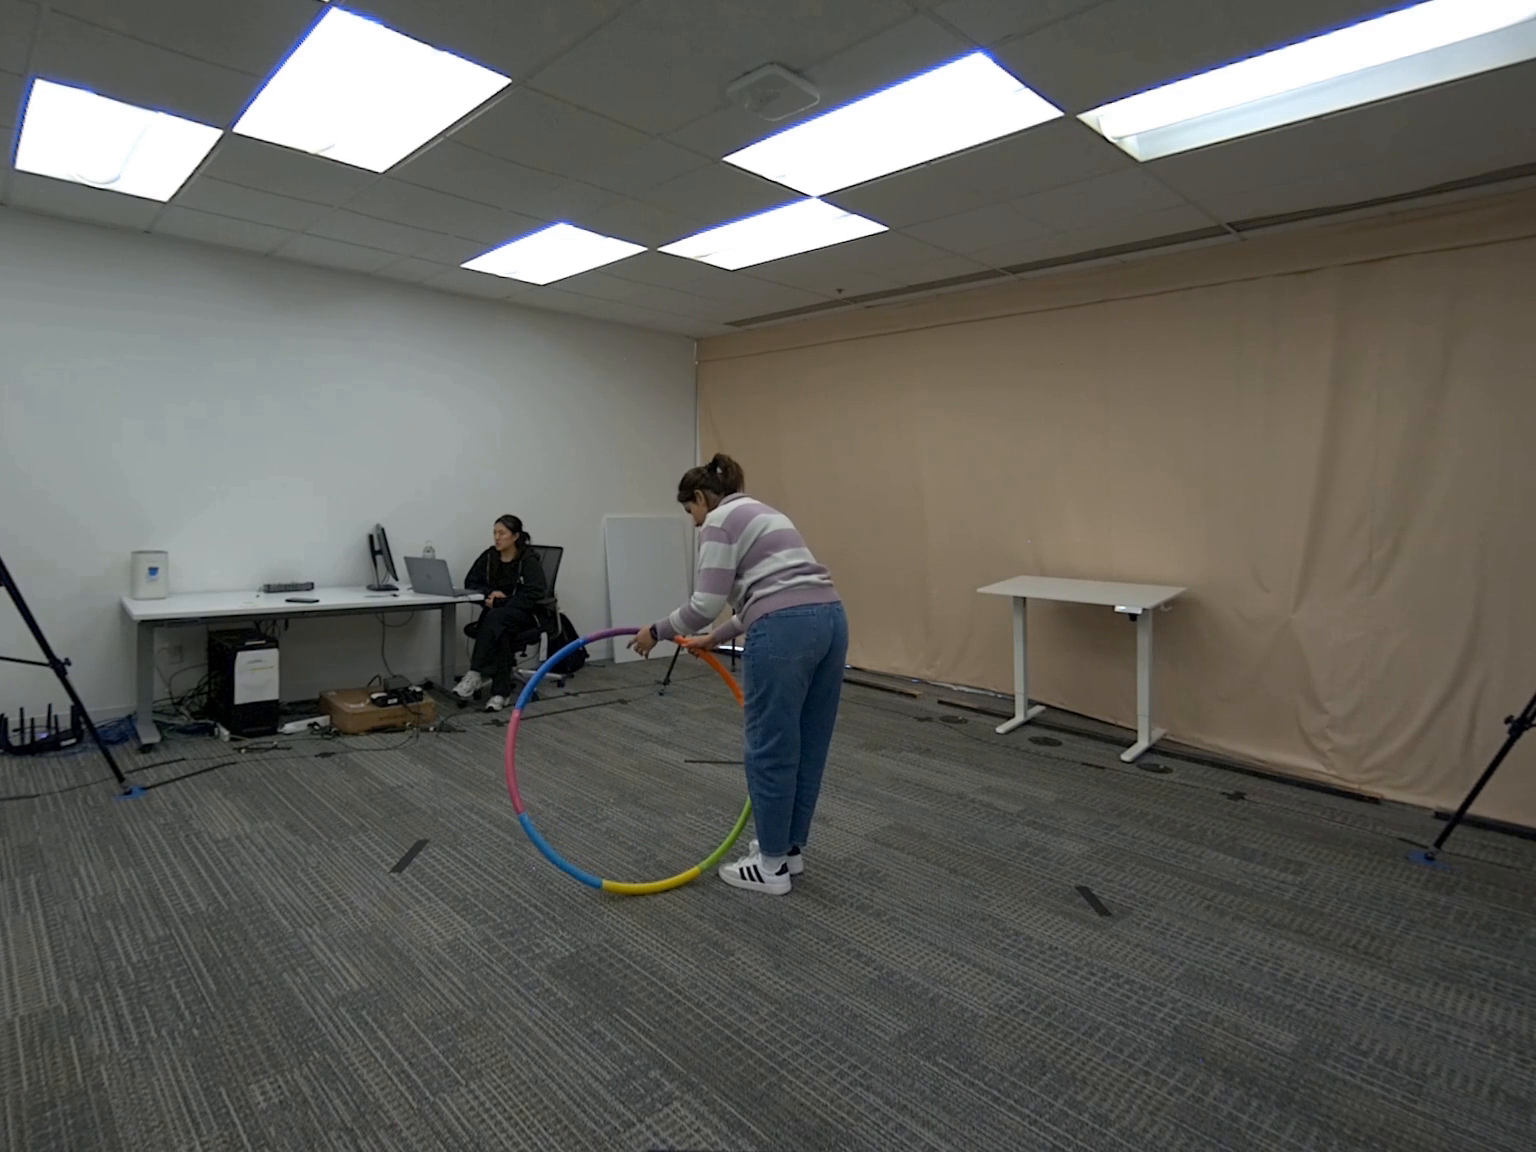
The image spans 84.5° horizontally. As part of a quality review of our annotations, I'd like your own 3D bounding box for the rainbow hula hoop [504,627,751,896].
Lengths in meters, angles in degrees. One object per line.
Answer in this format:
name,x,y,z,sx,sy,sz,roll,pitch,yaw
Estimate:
rainbow hula hoop,-0.484,0.664,3.136,0.968,1.004,0.051,-1,-25,-25
